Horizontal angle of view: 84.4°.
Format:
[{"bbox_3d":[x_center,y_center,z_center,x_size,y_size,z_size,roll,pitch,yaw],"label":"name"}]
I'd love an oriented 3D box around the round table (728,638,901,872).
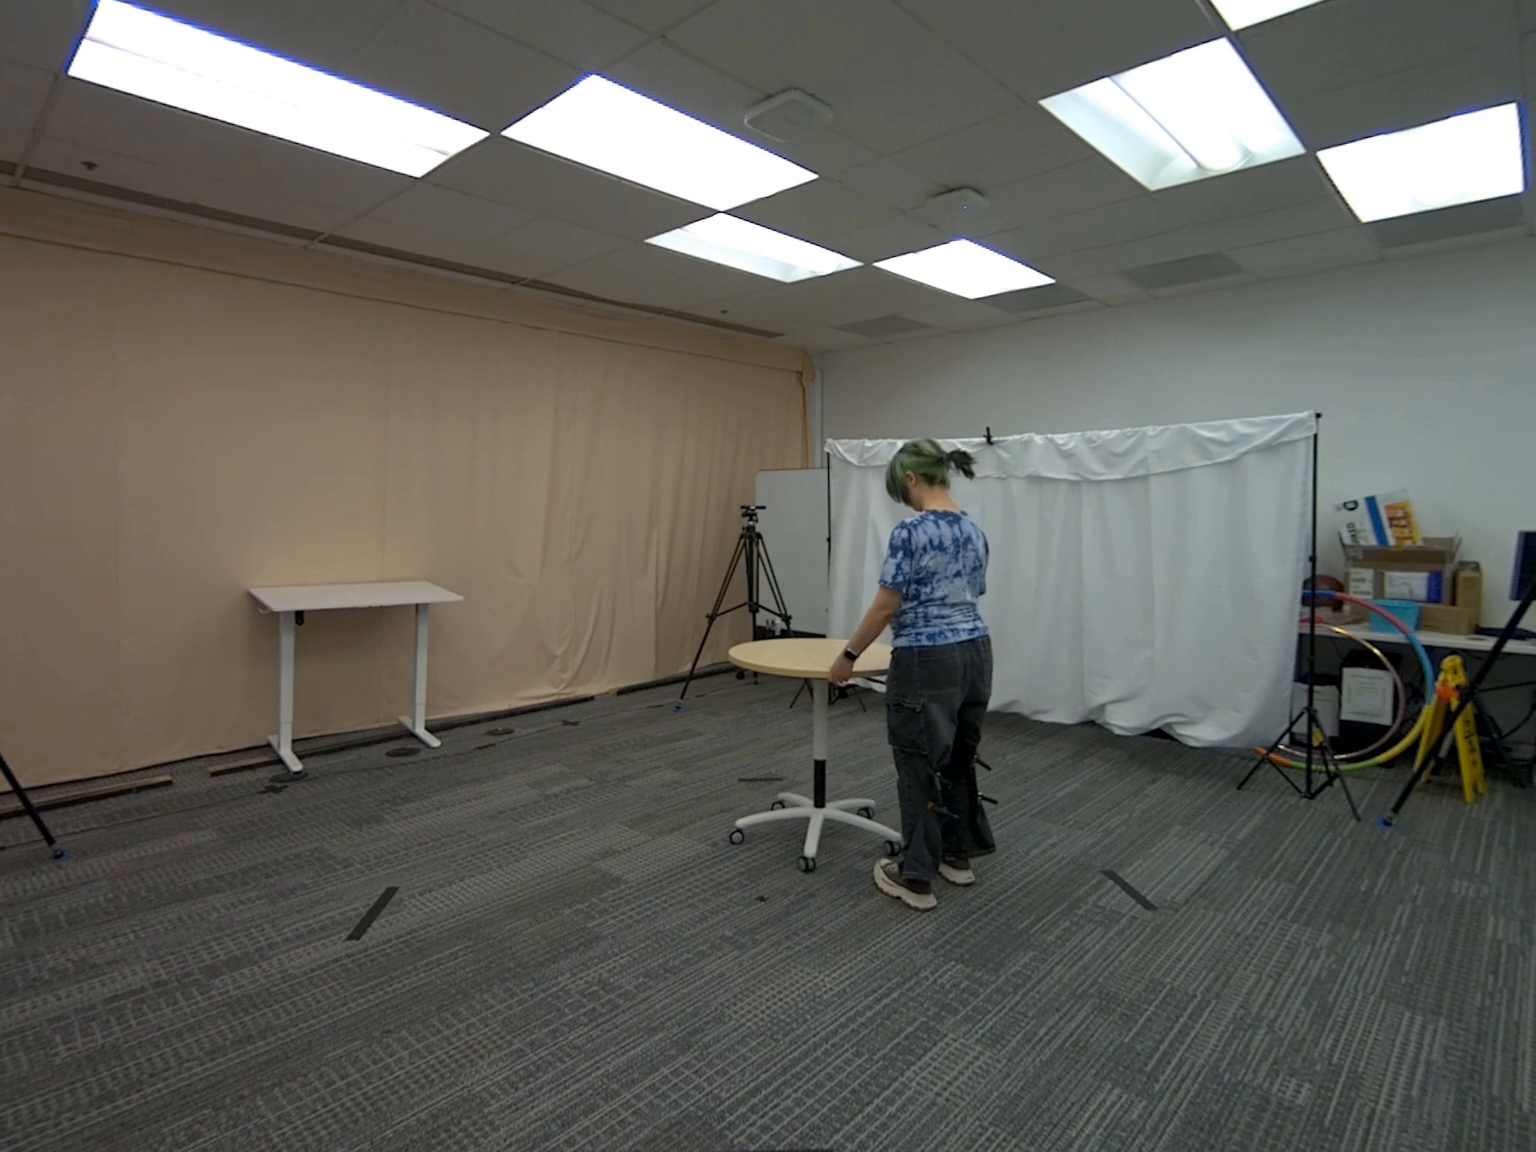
[{"bbox_3d":[0.211,0.712,3.489,0.763,0.792,0.766,0,3,-2],"label":"round table"}]
